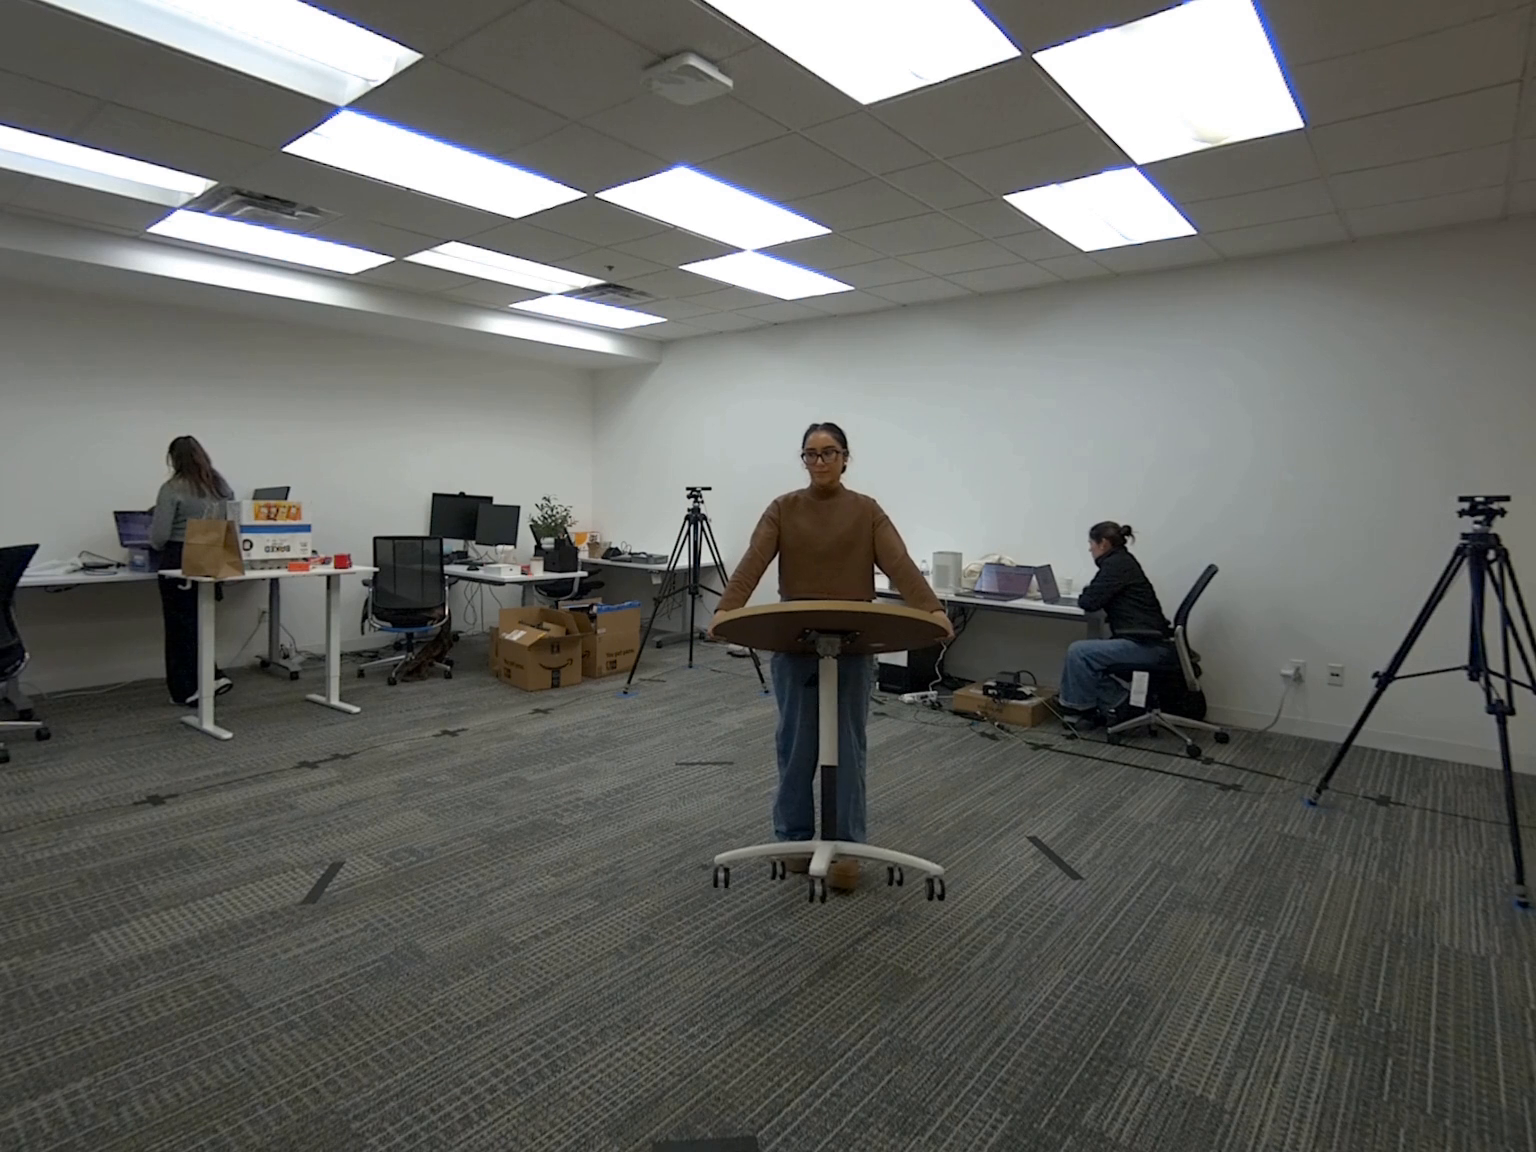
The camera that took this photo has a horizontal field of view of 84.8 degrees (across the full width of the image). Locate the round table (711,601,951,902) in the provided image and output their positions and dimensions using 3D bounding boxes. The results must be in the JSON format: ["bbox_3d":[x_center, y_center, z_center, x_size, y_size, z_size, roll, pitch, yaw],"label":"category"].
[{"bbox_3d":[0.191,0.556,2.671,0.785,0.799,0.773,1,-16,-1],"label":"round table"}]
